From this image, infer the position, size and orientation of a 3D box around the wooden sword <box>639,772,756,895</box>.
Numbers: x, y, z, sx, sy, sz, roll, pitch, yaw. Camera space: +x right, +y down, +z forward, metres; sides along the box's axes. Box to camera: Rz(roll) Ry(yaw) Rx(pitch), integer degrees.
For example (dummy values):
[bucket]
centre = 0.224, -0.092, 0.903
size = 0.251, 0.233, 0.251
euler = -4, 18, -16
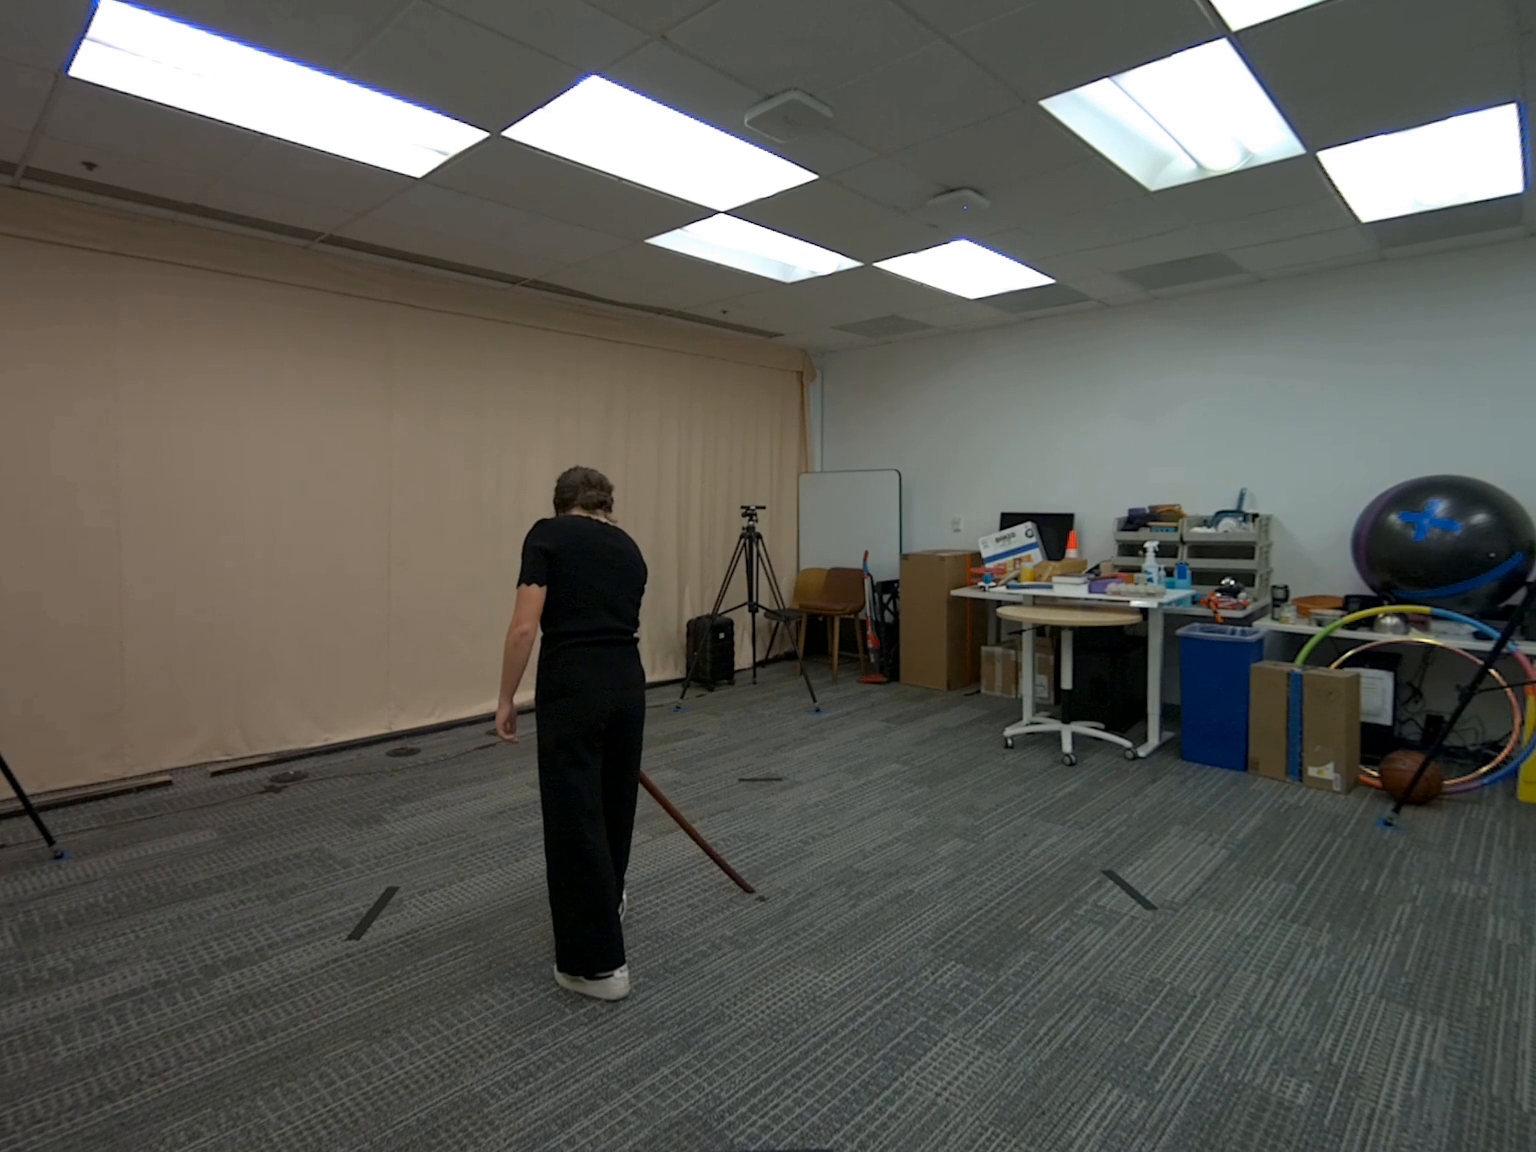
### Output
[wooden sword]
centre = -0.367, 0.777, 2.920
size = 0.024, 1.009, 0.052
euler = -39, 13, 6
